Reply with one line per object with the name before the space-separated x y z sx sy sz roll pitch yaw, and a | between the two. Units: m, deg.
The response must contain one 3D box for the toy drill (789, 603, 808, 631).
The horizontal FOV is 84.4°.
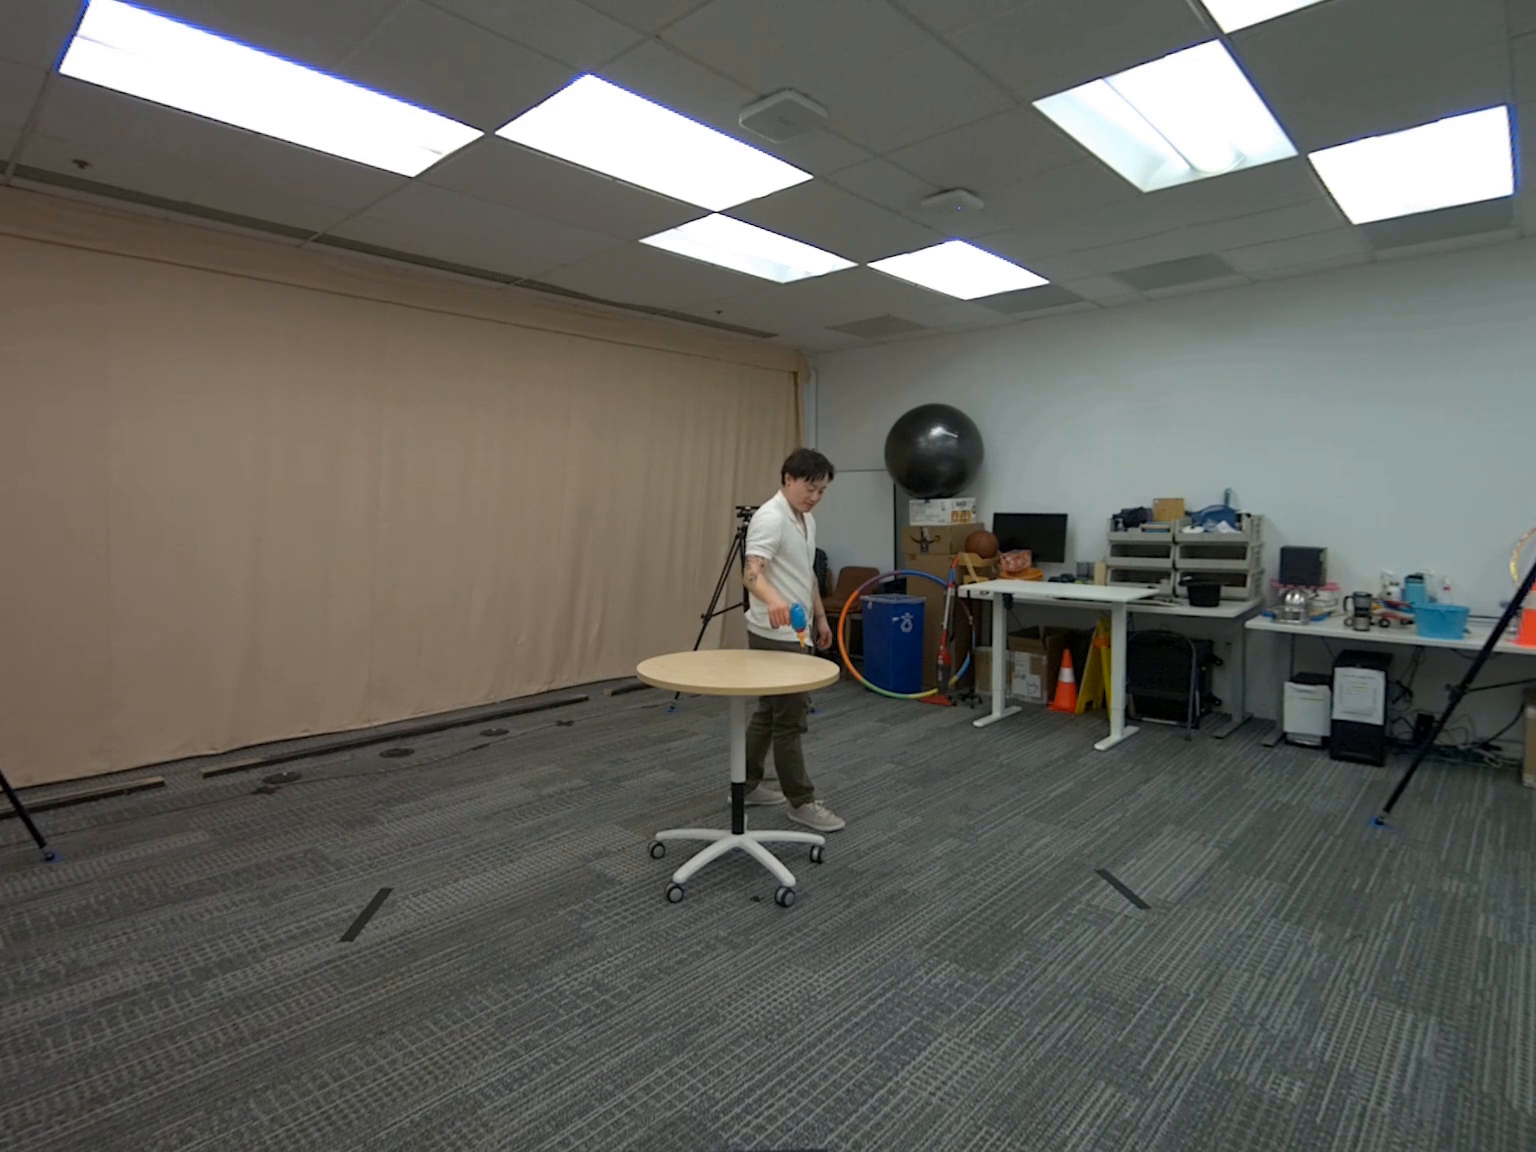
toy drill | 0.087 0.196 3.256 0.150 0.170 0.059 -13 -4 35
